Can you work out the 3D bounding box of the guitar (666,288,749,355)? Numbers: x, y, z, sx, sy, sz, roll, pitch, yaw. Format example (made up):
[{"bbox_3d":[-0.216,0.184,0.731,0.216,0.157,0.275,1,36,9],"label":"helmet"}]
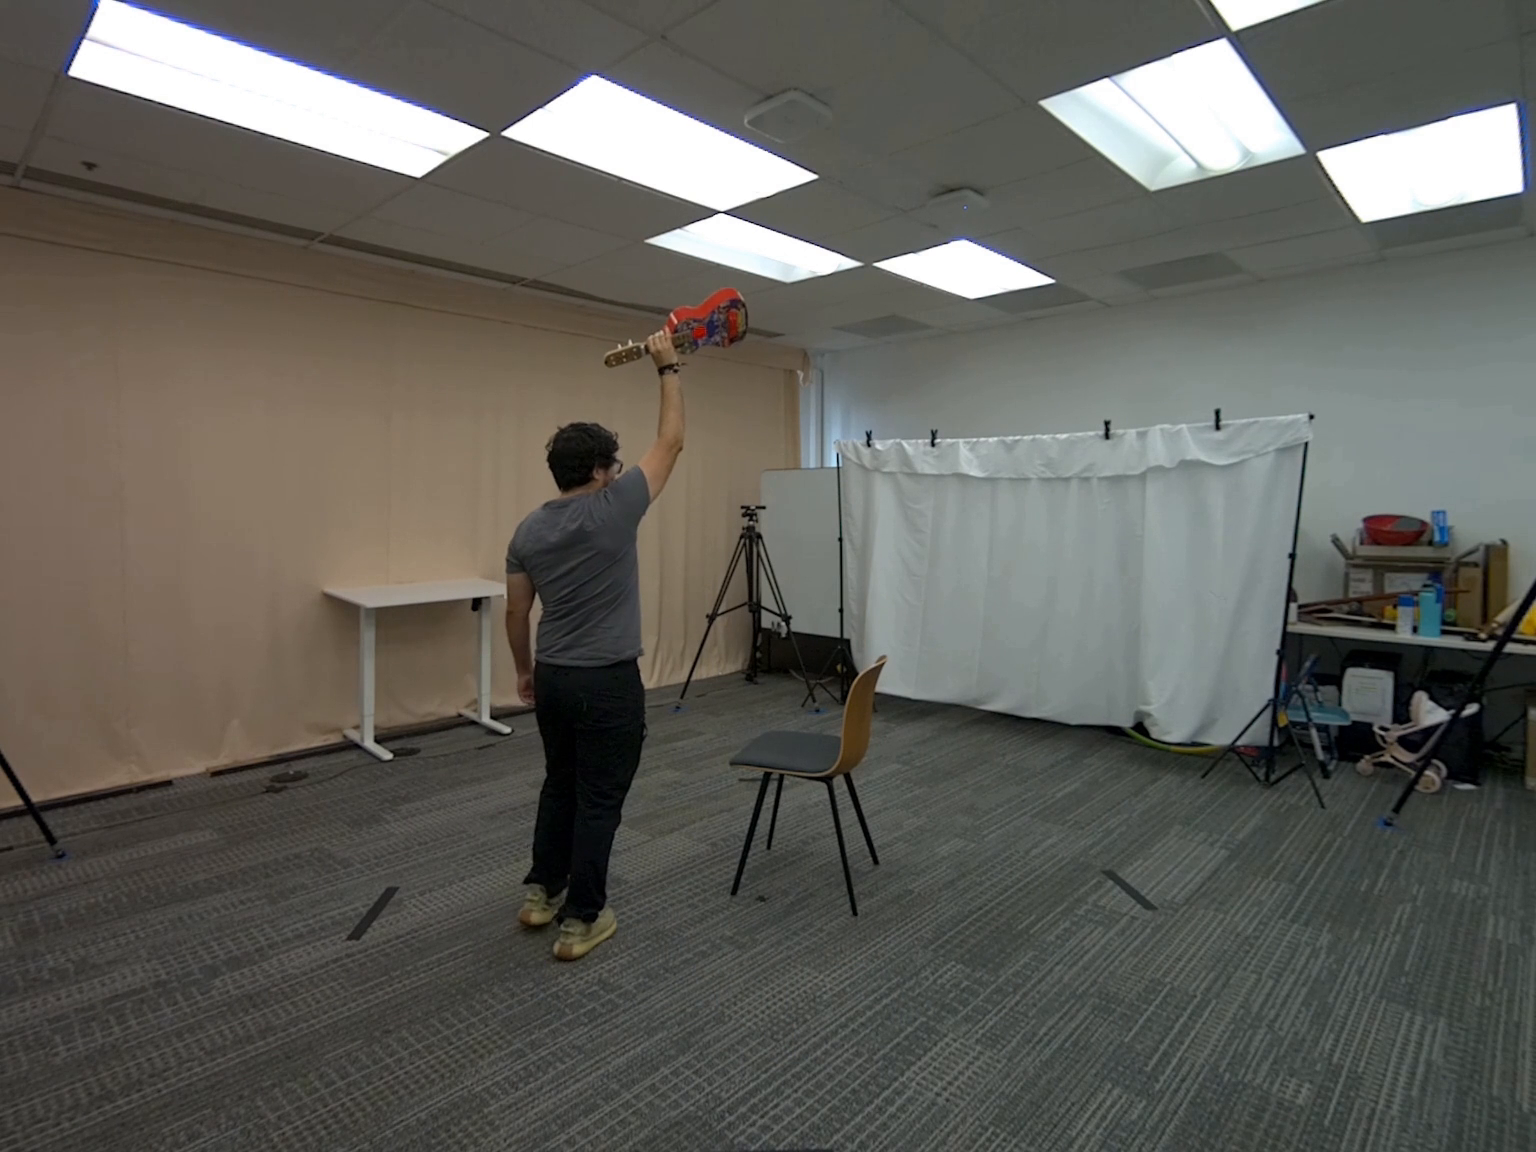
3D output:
[{"bbox_3d":[-0.299,-0.805,2.723,0.490,0.073,0.190,-14,-36,-17],"label":"guitar"}]
